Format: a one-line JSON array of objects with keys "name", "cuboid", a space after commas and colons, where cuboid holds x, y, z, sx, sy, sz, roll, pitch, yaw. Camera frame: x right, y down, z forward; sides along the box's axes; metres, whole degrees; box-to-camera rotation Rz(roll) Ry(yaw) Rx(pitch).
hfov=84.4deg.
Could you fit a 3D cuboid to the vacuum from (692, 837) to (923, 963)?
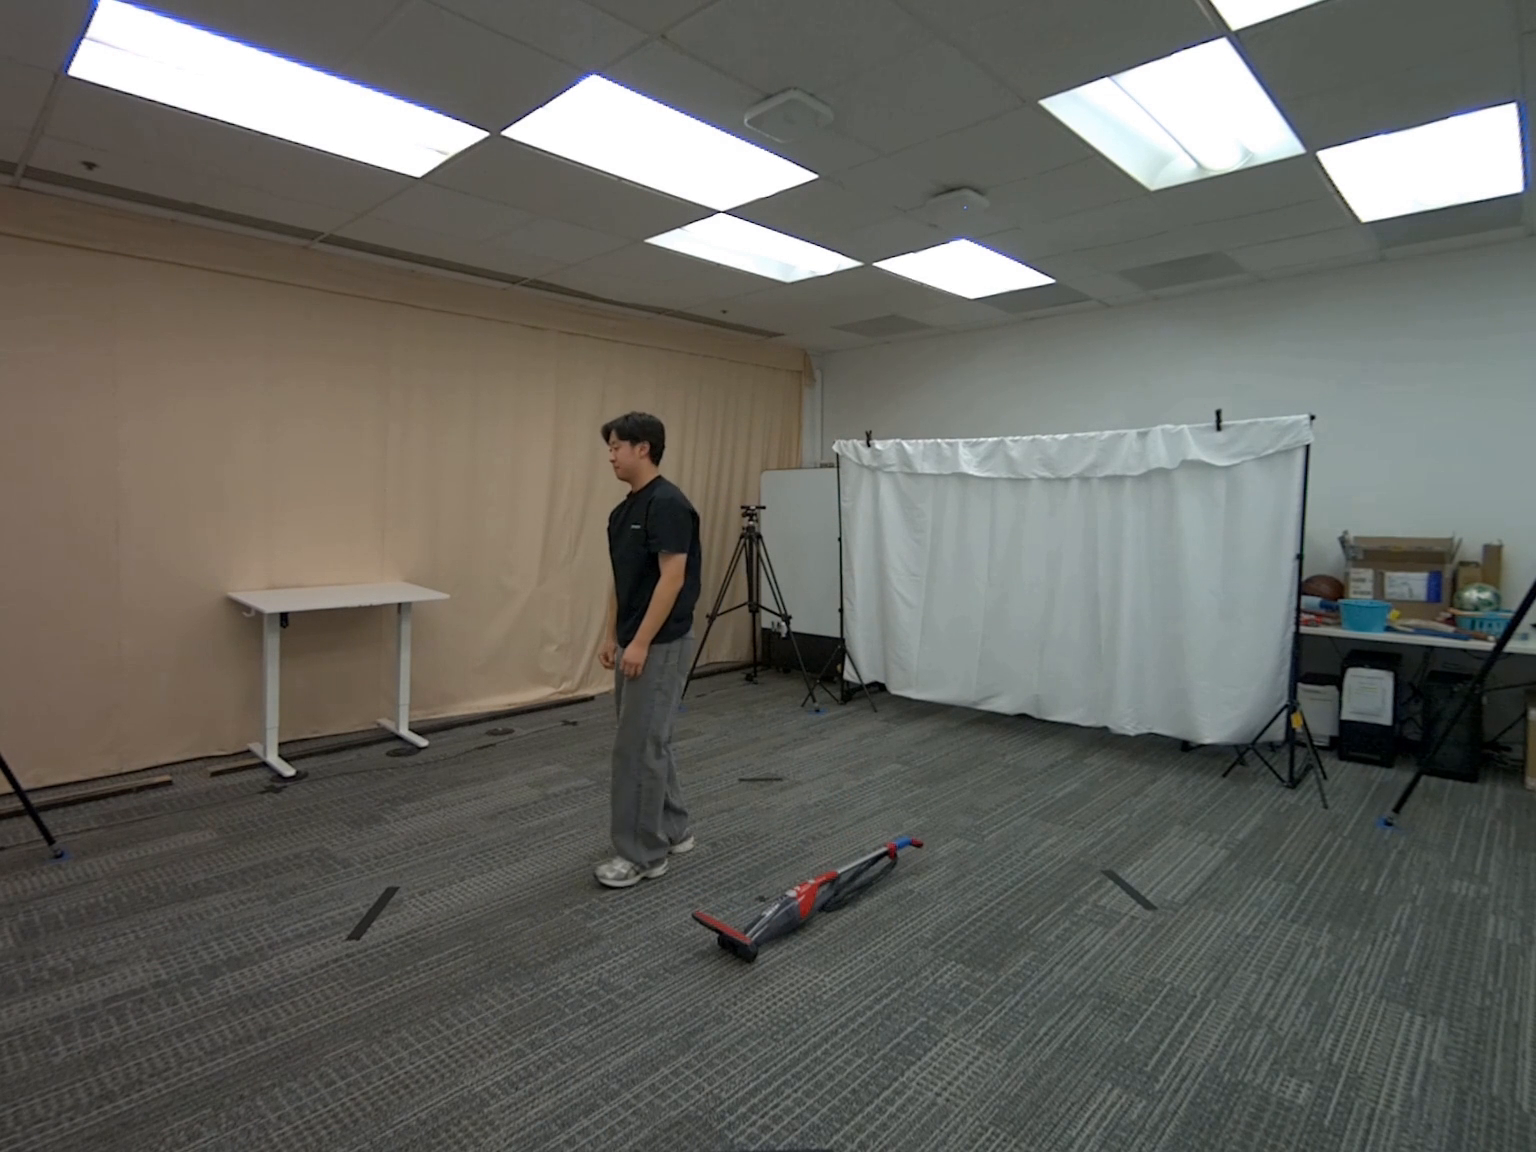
[{"name": "vacuum", "cuboid": [0.234, 1.089, 2.933, 1.017, 0.143, 0.261, -5, 7, -44]}]
